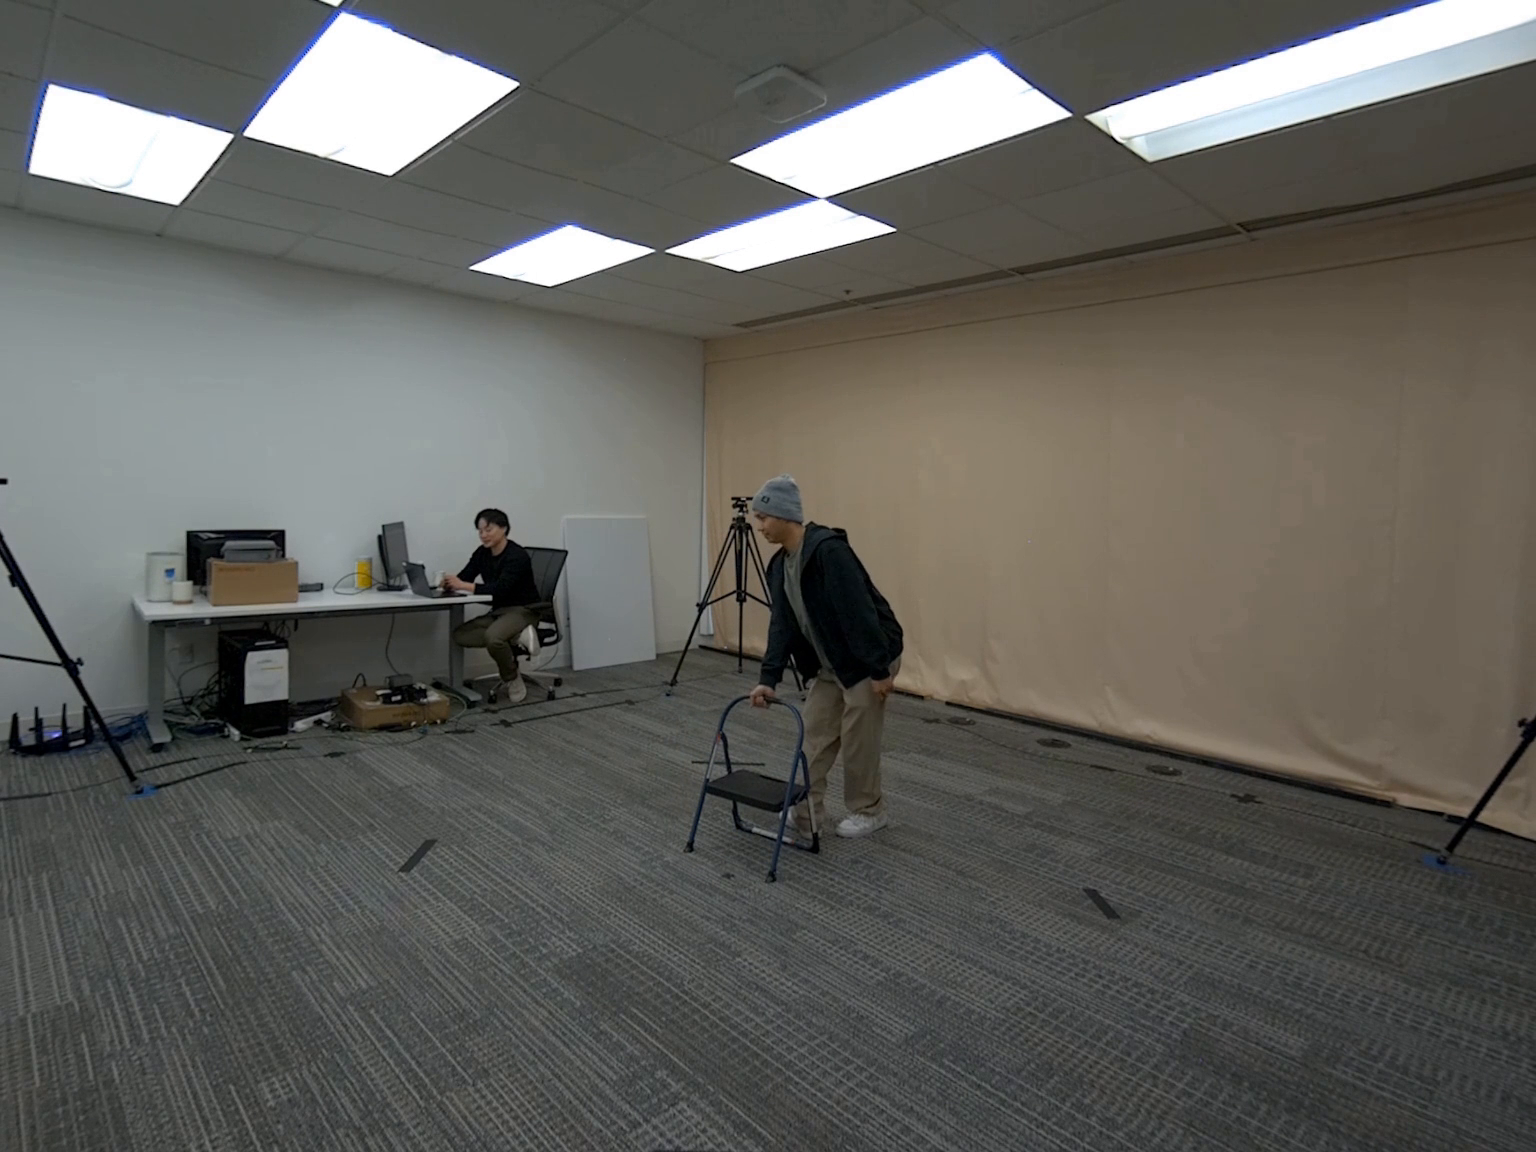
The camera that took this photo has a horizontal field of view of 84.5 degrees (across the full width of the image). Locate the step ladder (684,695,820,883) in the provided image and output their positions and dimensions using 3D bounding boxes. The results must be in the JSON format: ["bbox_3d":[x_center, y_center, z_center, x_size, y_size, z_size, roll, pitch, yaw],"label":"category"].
[{"bbox_3d":[-0.057,0.789,3.304,0.441,0.605,0.342,4,4,36],"label":"step ladder"}]
